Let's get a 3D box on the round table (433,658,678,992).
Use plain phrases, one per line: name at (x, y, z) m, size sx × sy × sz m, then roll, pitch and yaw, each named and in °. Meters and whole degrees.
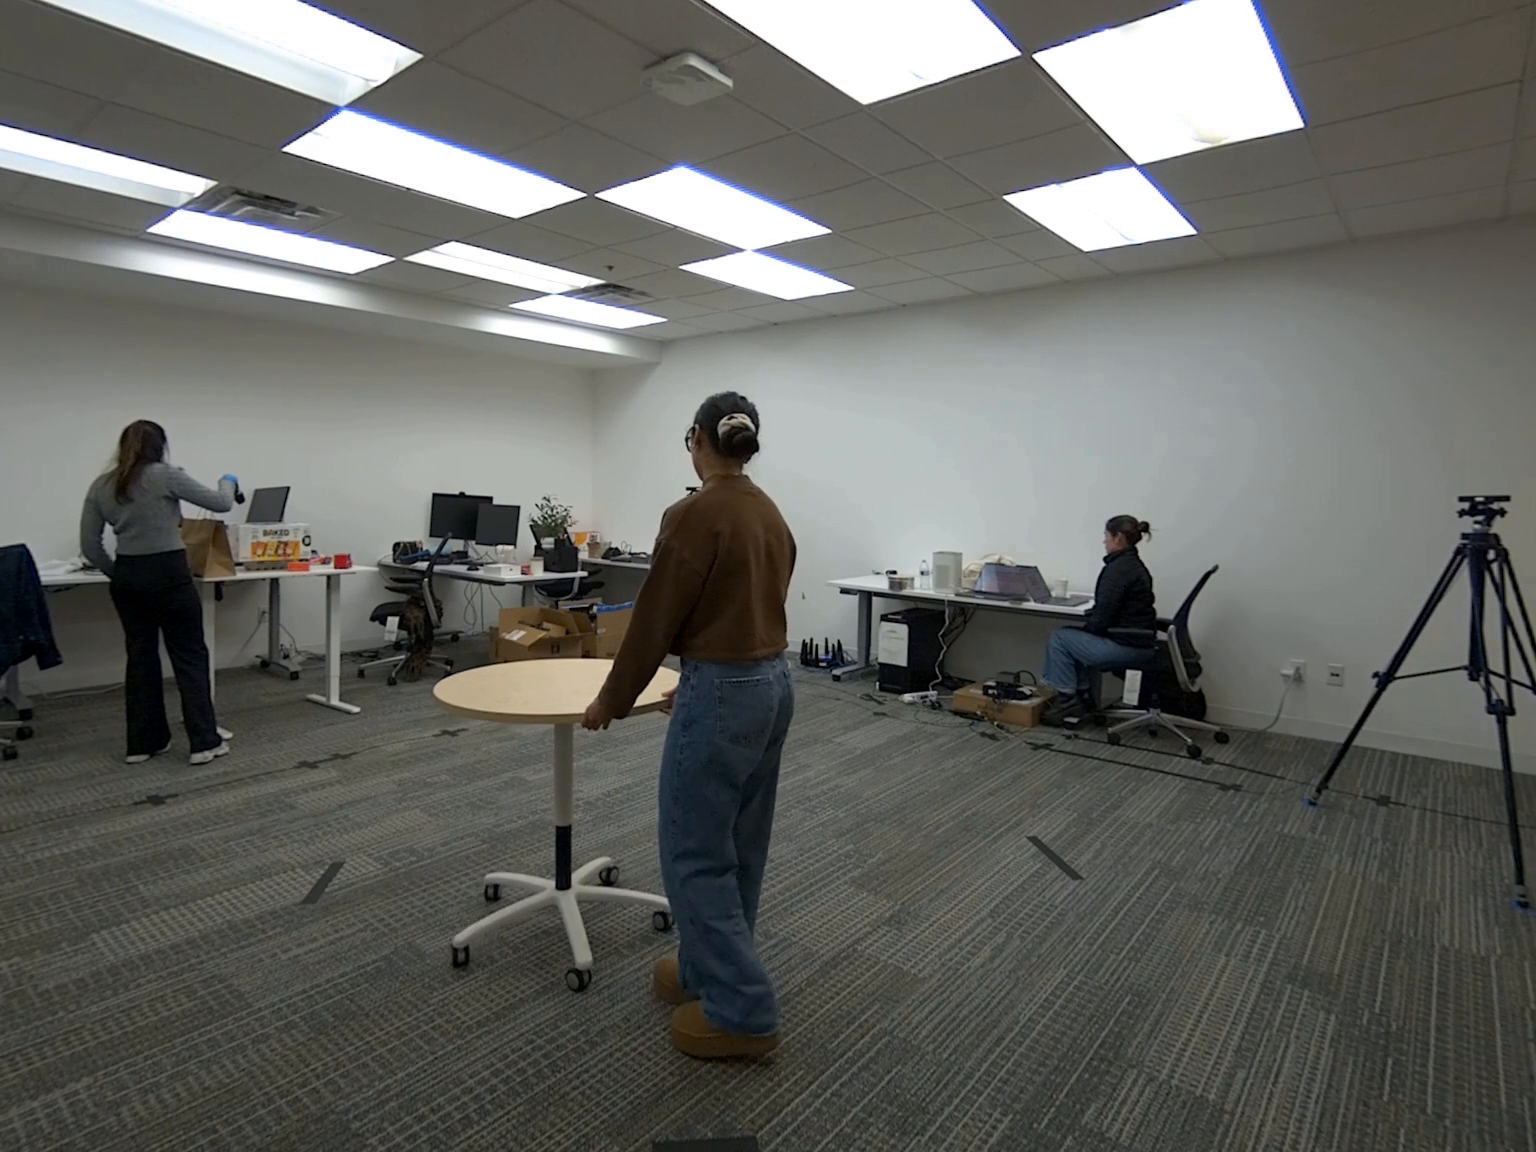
round table at (-0.642, 0.720, 2.634) m, size 0.763 × 0.791 × 0.768 m, roll 0°, pitch 4°, yaw -2°
